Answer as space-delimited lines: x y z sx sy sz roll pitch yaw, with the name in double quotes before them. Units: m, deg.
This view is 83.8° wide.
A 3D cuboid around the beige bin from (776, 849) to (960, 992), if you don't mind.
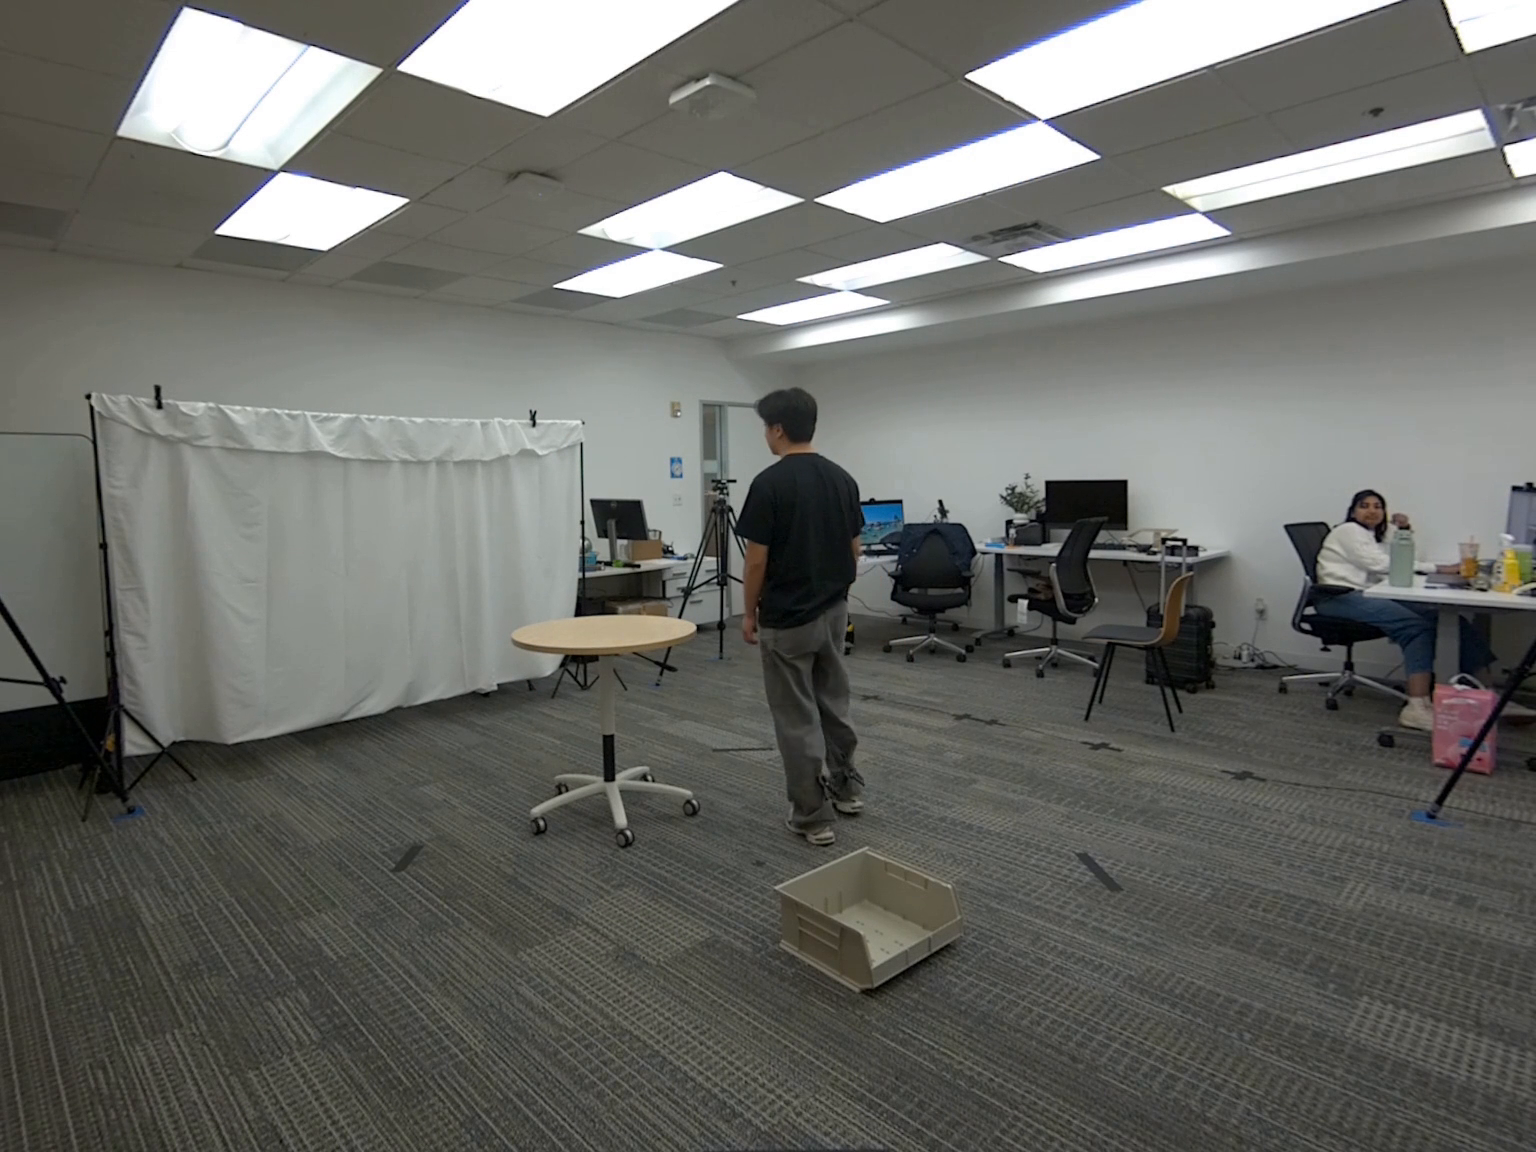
"beige bin" 0.302 1.021 2.544 0.411 0.188 0.389 -7 7 -41
